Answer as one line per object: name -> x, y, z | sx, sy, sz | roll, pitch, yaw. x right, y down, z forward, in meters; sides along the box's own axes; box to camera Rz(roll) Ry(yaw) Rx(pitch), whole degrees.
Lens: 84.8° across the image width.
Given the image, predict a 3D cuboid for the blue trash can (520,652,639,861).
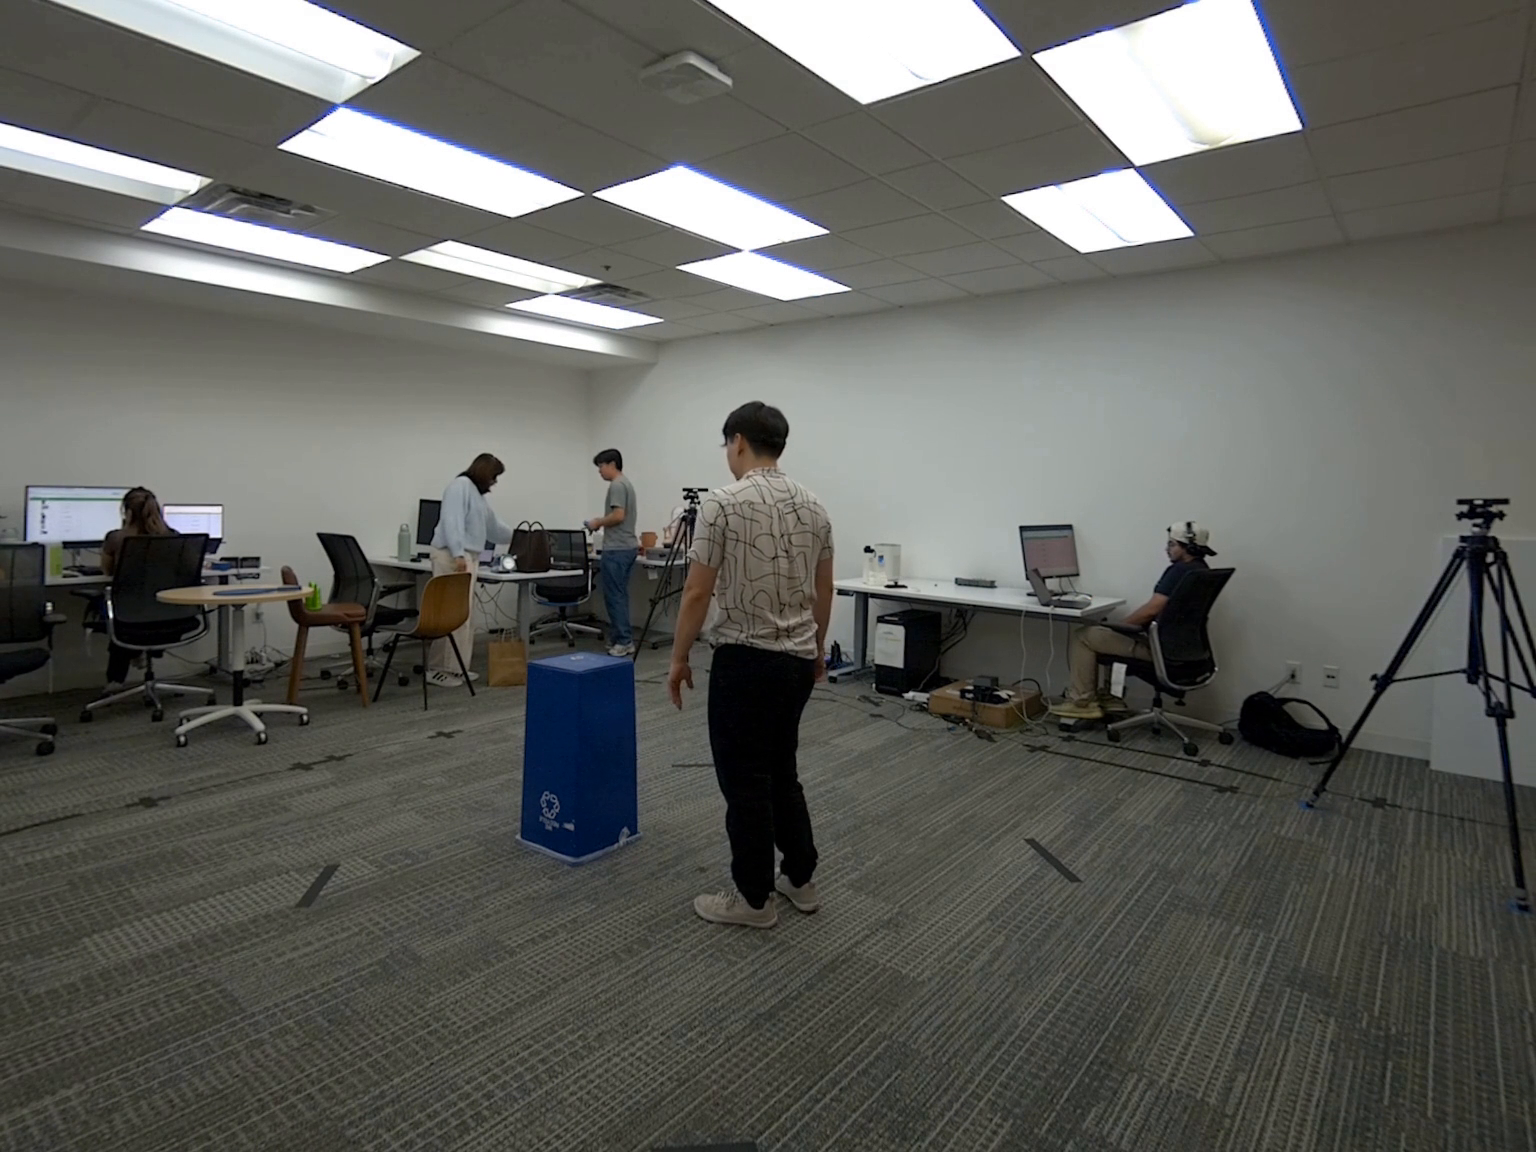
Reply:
blue trash can -> -0.754, 0.685, 3.349 | 0.386, 0.712, 0.367 | 2, 2, 37
